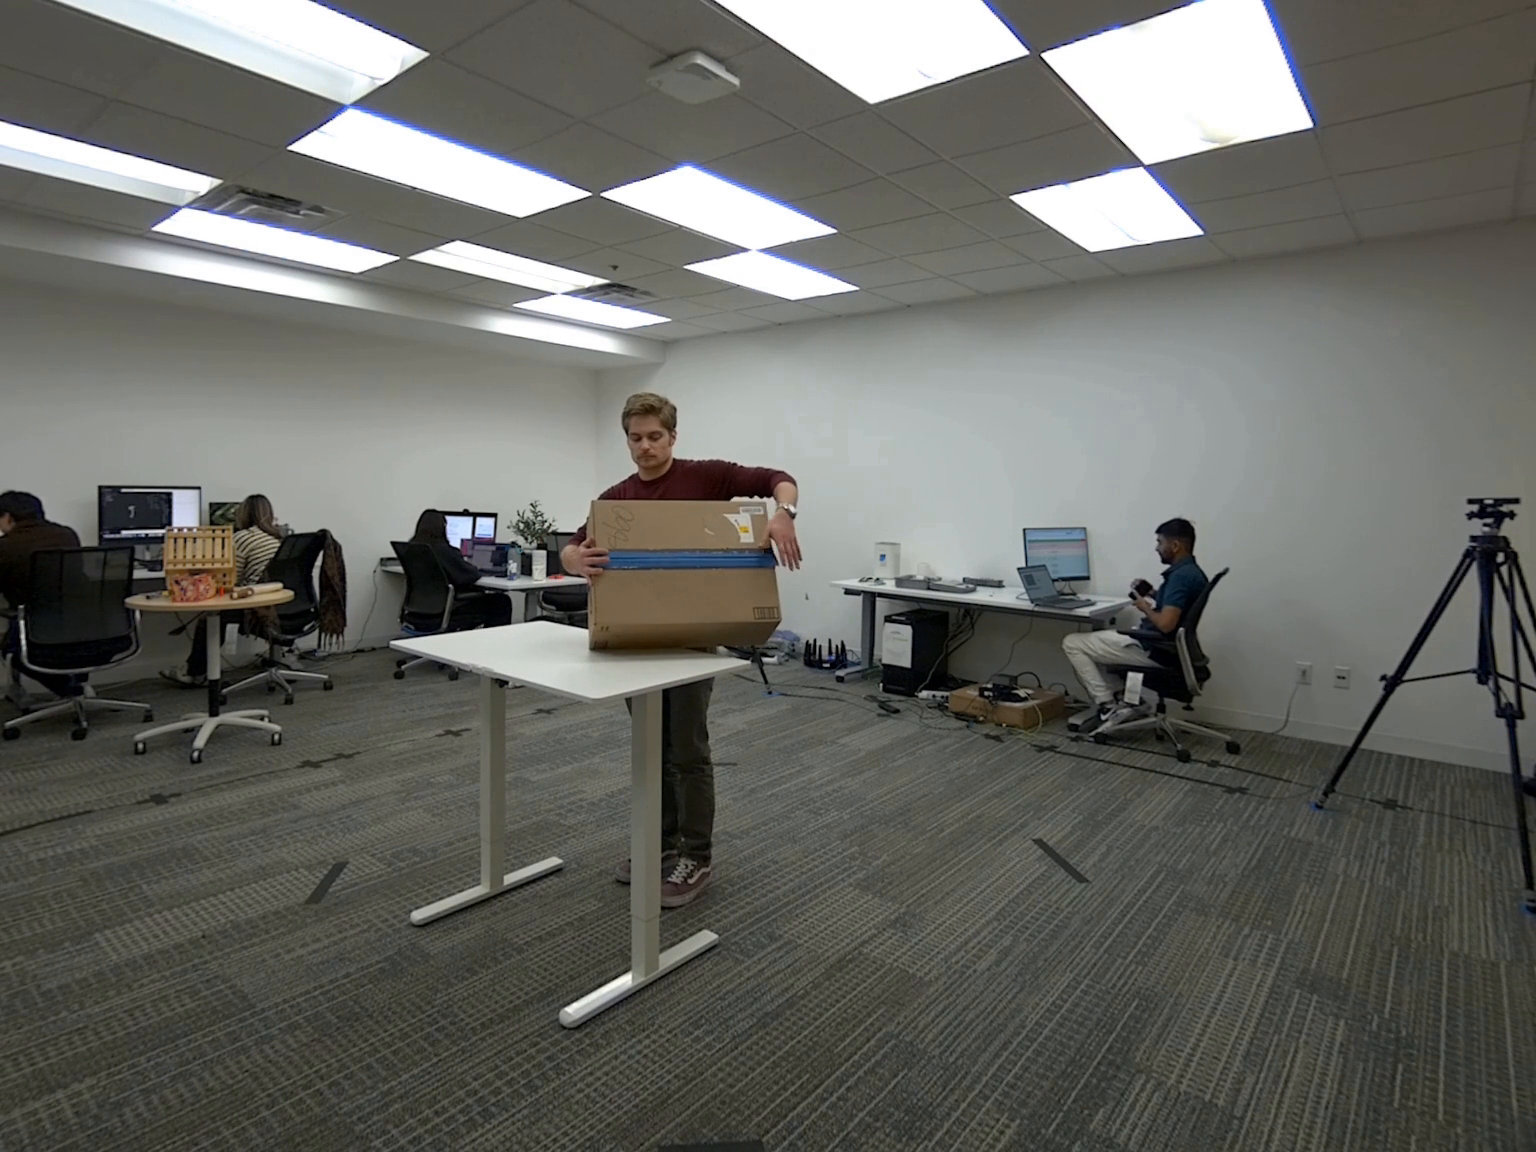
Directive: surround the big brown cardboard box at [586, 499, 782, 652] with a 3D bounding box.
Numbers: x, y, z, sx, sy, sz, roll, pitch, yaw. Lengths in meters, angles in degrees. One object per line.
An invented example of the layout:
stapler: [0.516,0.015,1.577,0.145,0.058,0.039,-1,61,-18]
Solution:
big brown cardboard box: [-0.284,-0.007,2.692,0.581,0.429,0.230,-3,-26,-13]
